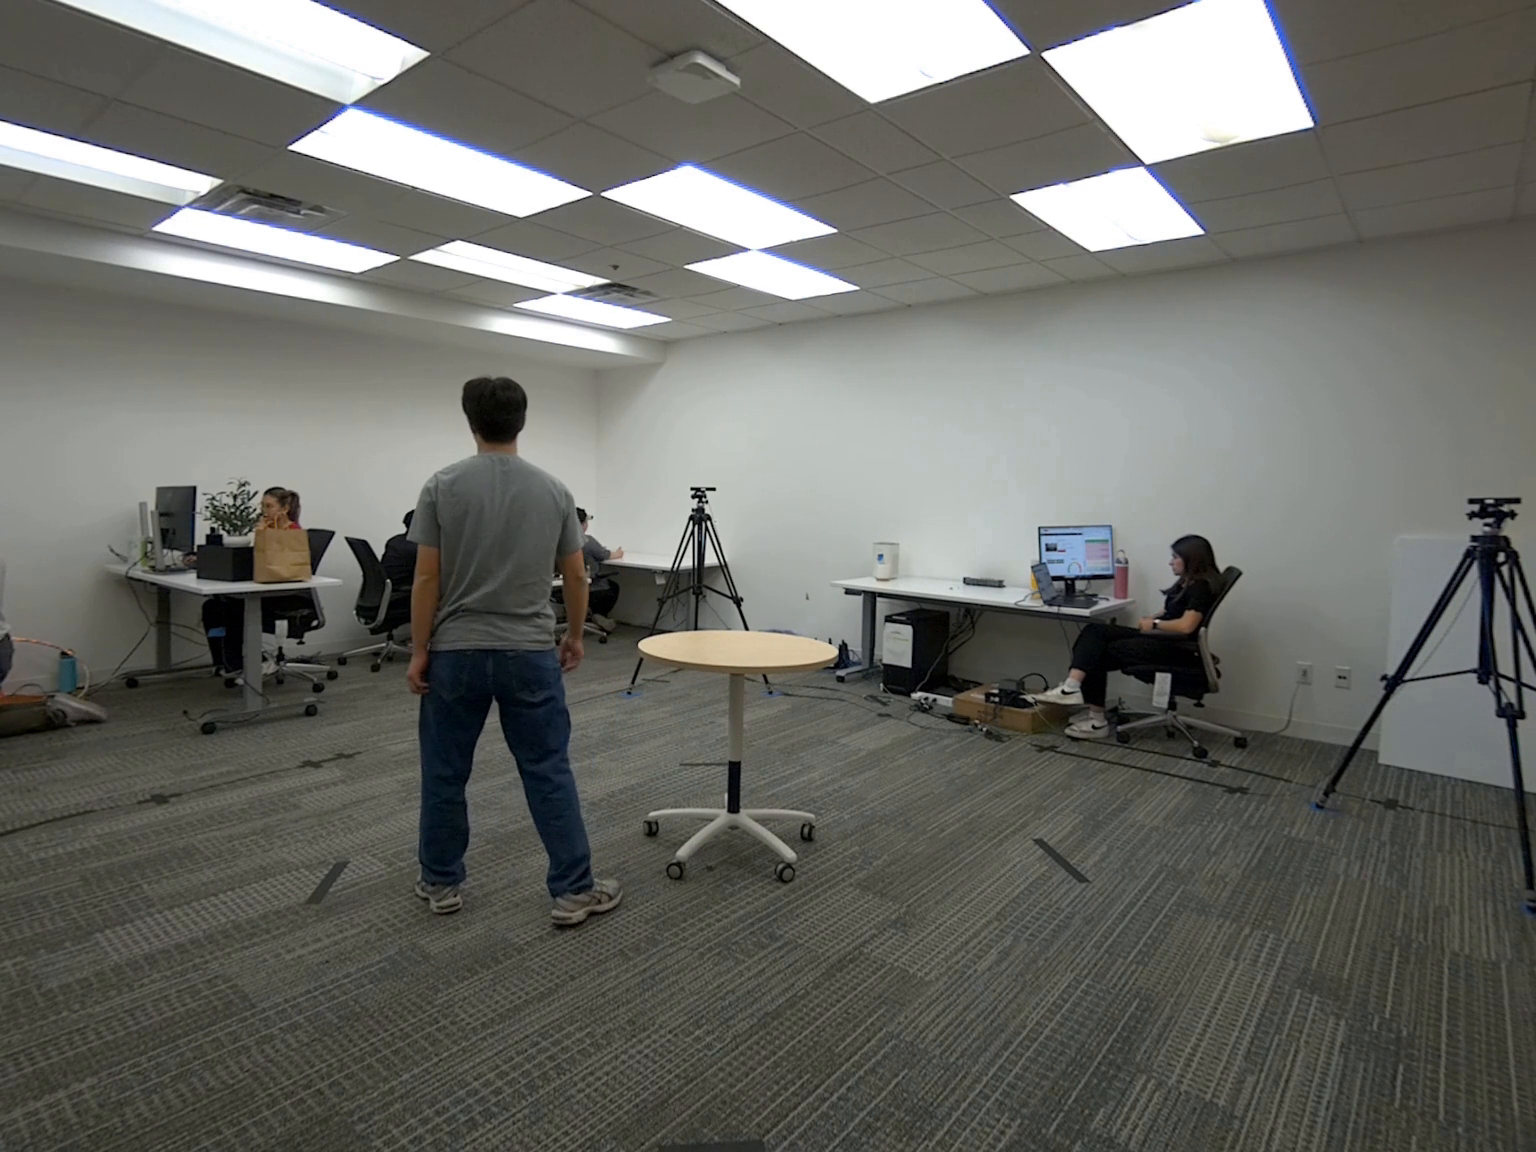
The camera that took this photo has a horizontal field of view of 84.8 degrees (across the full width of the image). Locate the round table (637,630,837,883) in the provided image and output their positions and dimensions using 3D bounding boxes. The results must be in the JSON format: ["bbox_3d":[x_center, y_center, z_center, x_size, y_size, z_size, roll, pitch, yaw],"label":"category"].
[{"bbox_3d":[-0.134,0.662,3.278,0.763,0.792,0.767,1,4,-2],"label":"round table"}]
